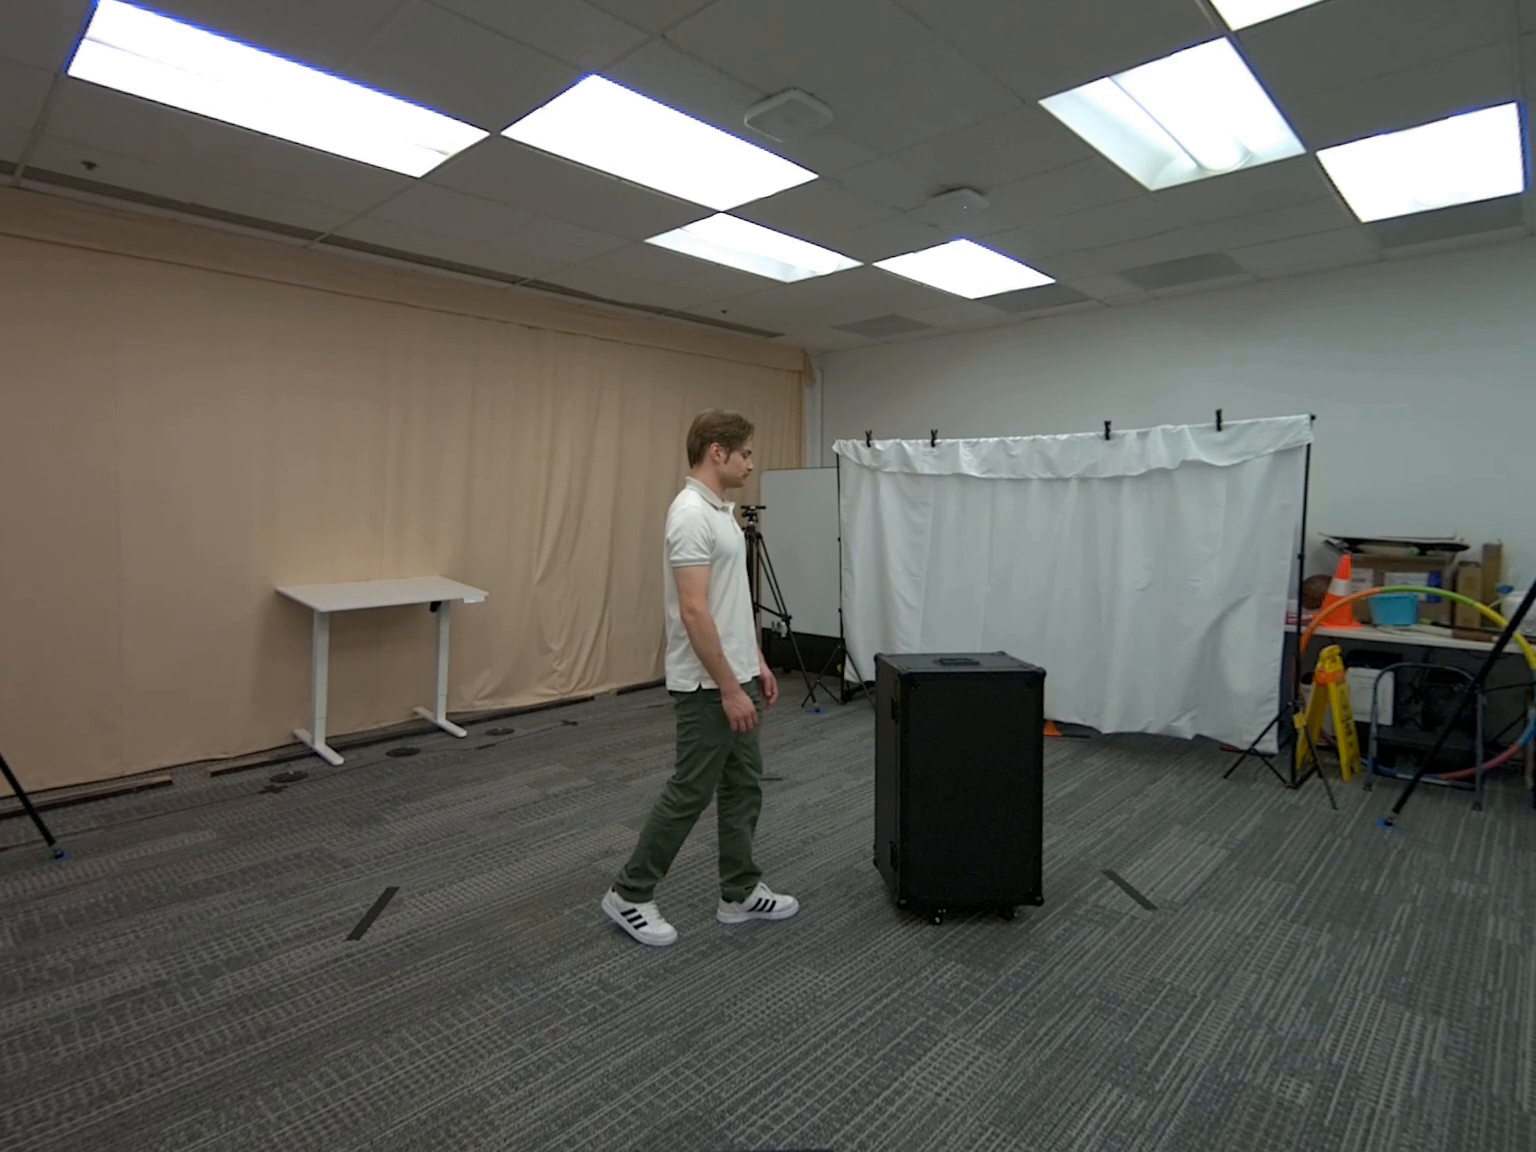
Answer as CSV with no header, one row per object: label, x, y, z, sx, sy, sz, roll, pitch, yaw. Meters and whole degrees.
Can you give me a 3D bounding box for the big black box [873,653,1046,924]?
big black box,0.649,0.722,2.924,0.522,0.867,0.387,0,3,-3
